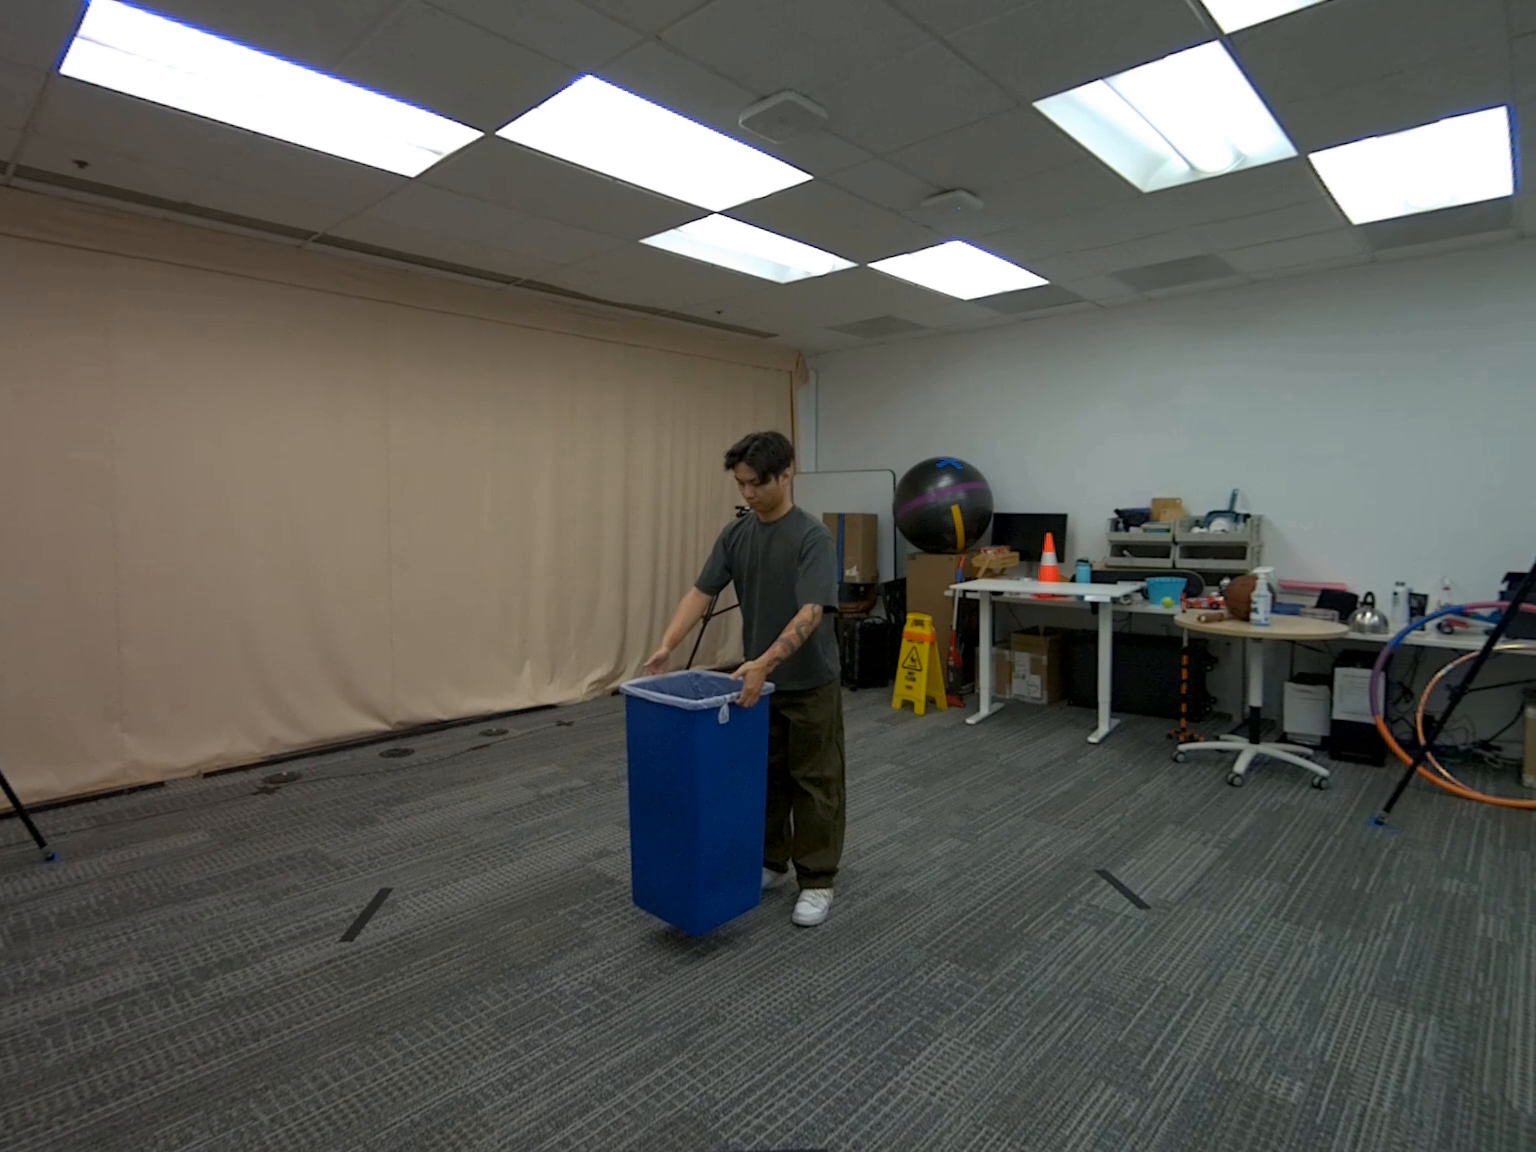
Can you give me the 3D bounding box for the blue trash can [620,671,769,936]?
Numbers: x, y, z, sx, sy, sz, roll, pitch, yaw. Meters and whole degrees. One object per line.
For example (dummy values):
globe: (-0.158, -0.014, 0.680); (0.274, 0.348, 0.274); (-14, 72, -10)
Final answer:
blue trash can: (-0.227, 0.705, 2.681); (0.390, 0.712, 0.362); (3, 3, 41)
